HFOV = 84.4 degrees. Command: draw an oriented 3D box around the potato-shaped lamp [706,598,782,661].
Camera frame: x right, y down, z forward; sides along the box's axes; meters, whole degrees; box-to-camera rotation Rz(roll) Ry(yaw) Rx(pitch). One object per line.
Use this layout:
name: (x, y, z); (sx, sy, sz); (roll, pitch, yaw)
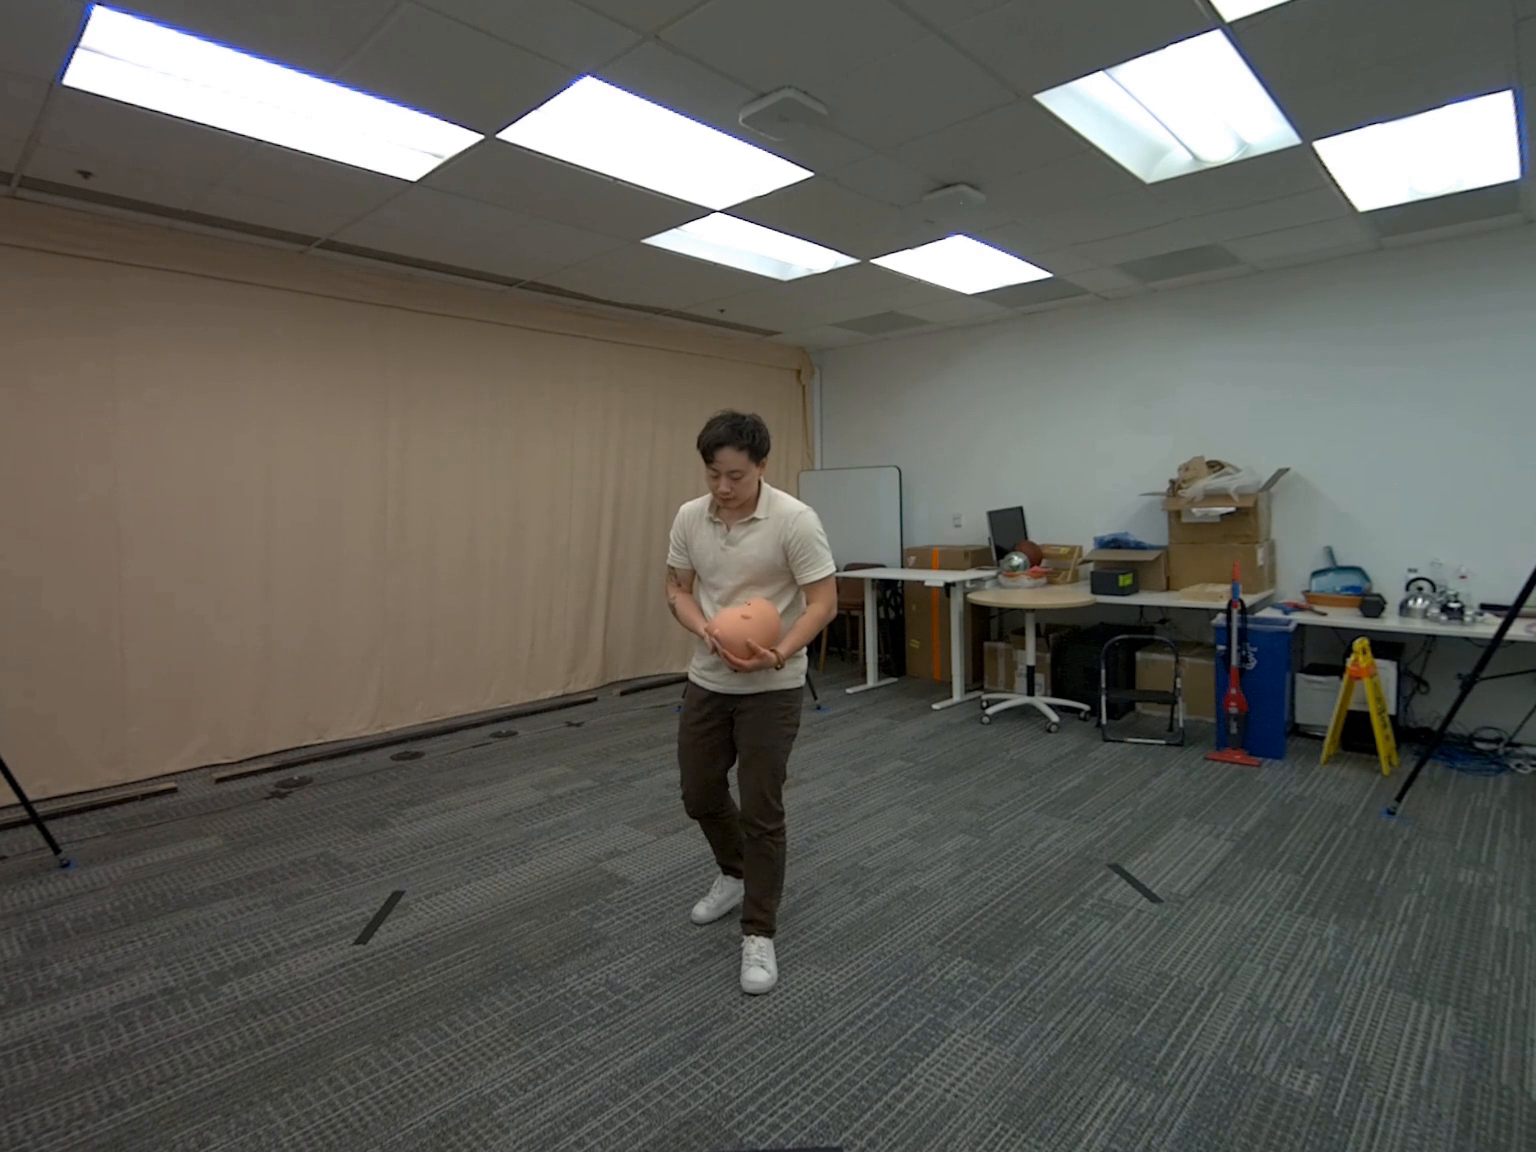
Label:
potato-shaped lamp: (-0.058, 0.149, 2.383); (0.197, 0.169, 0.168); (-41, 14, -13)
